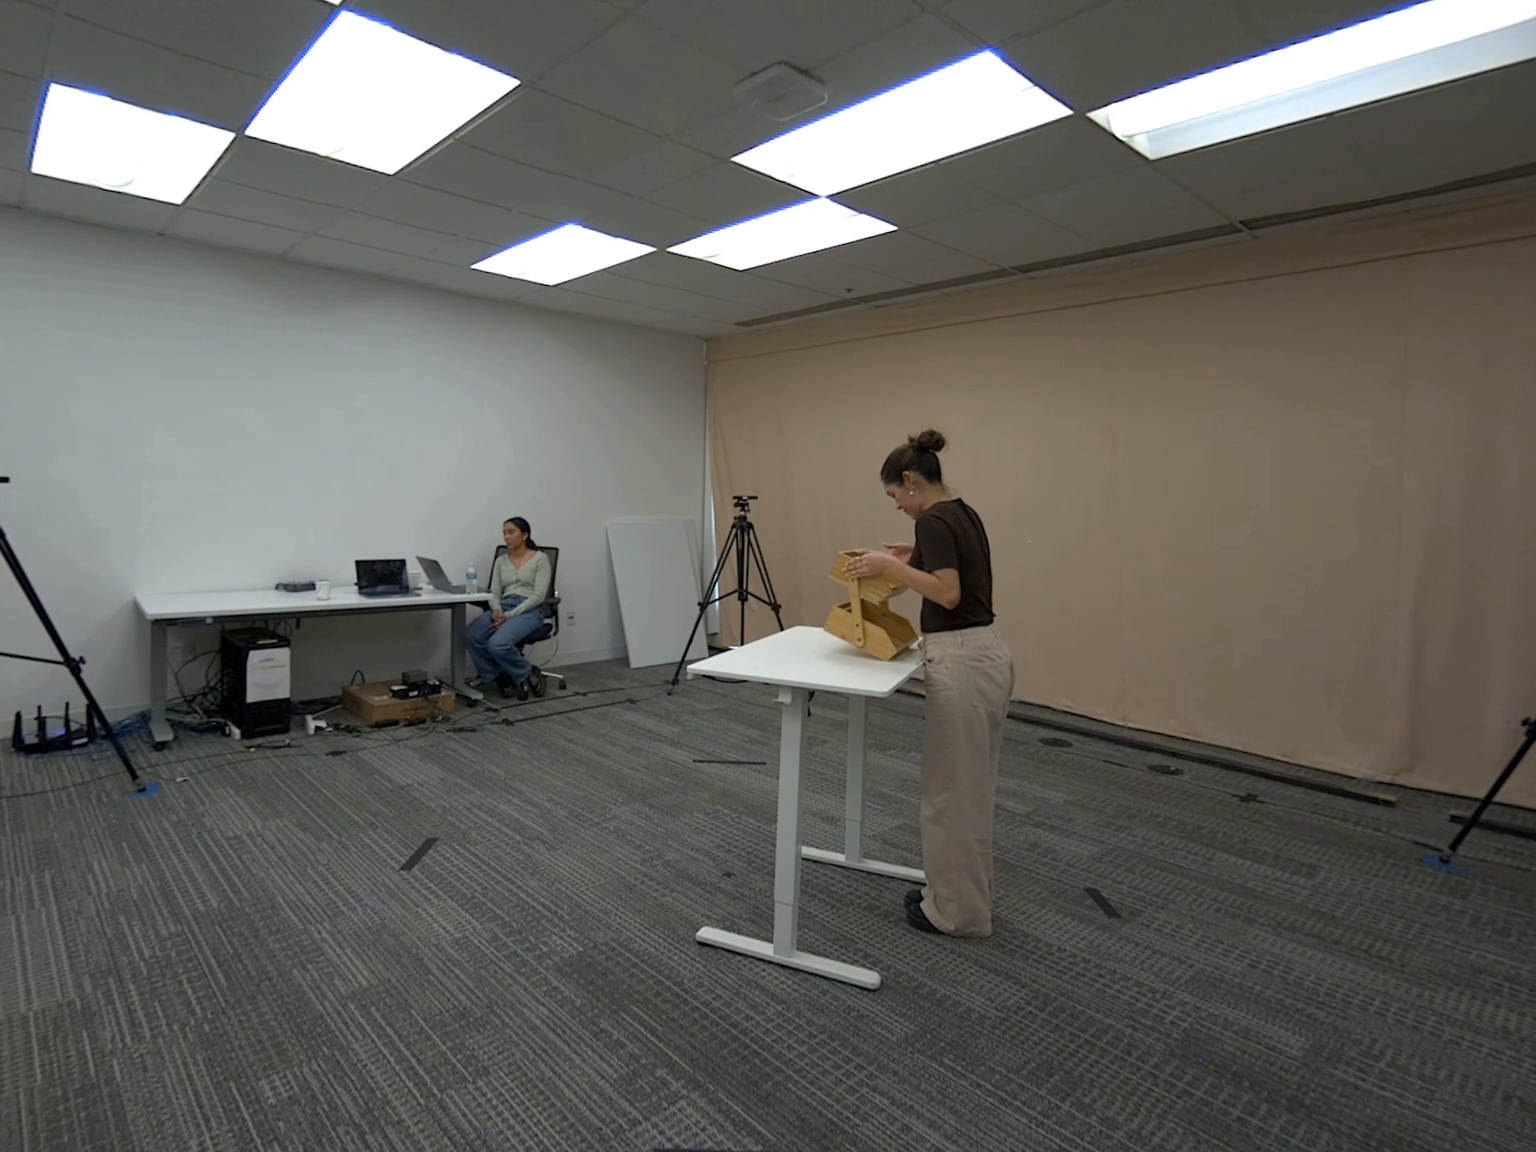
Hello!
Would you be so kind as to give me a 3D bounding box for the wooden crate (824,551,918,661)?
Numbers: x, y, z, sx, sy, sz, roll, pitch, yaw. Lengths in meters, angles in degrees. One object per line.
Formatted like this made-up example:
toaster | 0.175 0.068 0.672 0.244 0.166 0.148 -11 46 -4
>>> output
wooden crate | 0.371 0.092 2.840 0.309 0.272 0.319 24 13 22
